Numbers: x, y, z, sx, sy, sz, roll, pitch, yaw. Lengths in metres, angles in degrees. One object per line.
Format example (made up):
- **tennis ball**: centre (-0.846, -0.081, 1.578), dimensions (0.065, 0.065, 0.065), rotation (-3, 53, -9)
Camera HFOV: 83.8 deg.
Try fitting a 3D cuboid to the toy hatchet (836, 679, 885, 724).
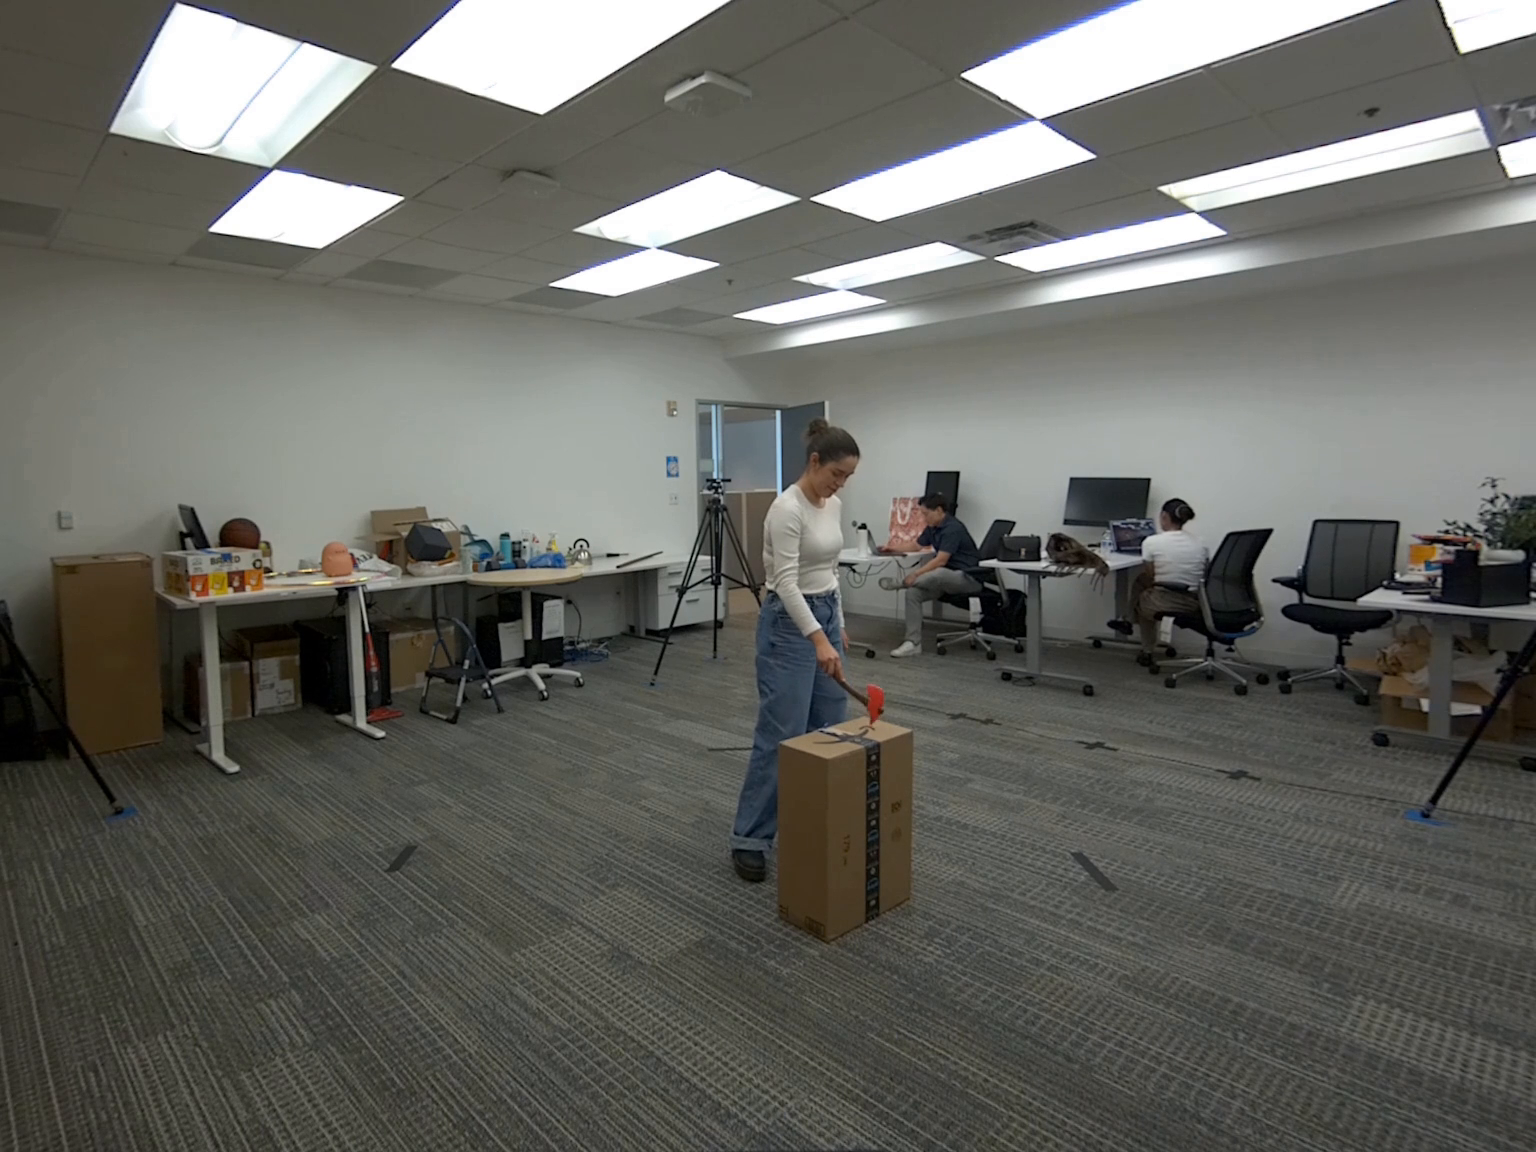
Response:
- **toy hatchet**: centre (0.284, 0.353, 2.796), dimensions (0.029, 0.129, 0.280), rotation (-6, 45, -39)
